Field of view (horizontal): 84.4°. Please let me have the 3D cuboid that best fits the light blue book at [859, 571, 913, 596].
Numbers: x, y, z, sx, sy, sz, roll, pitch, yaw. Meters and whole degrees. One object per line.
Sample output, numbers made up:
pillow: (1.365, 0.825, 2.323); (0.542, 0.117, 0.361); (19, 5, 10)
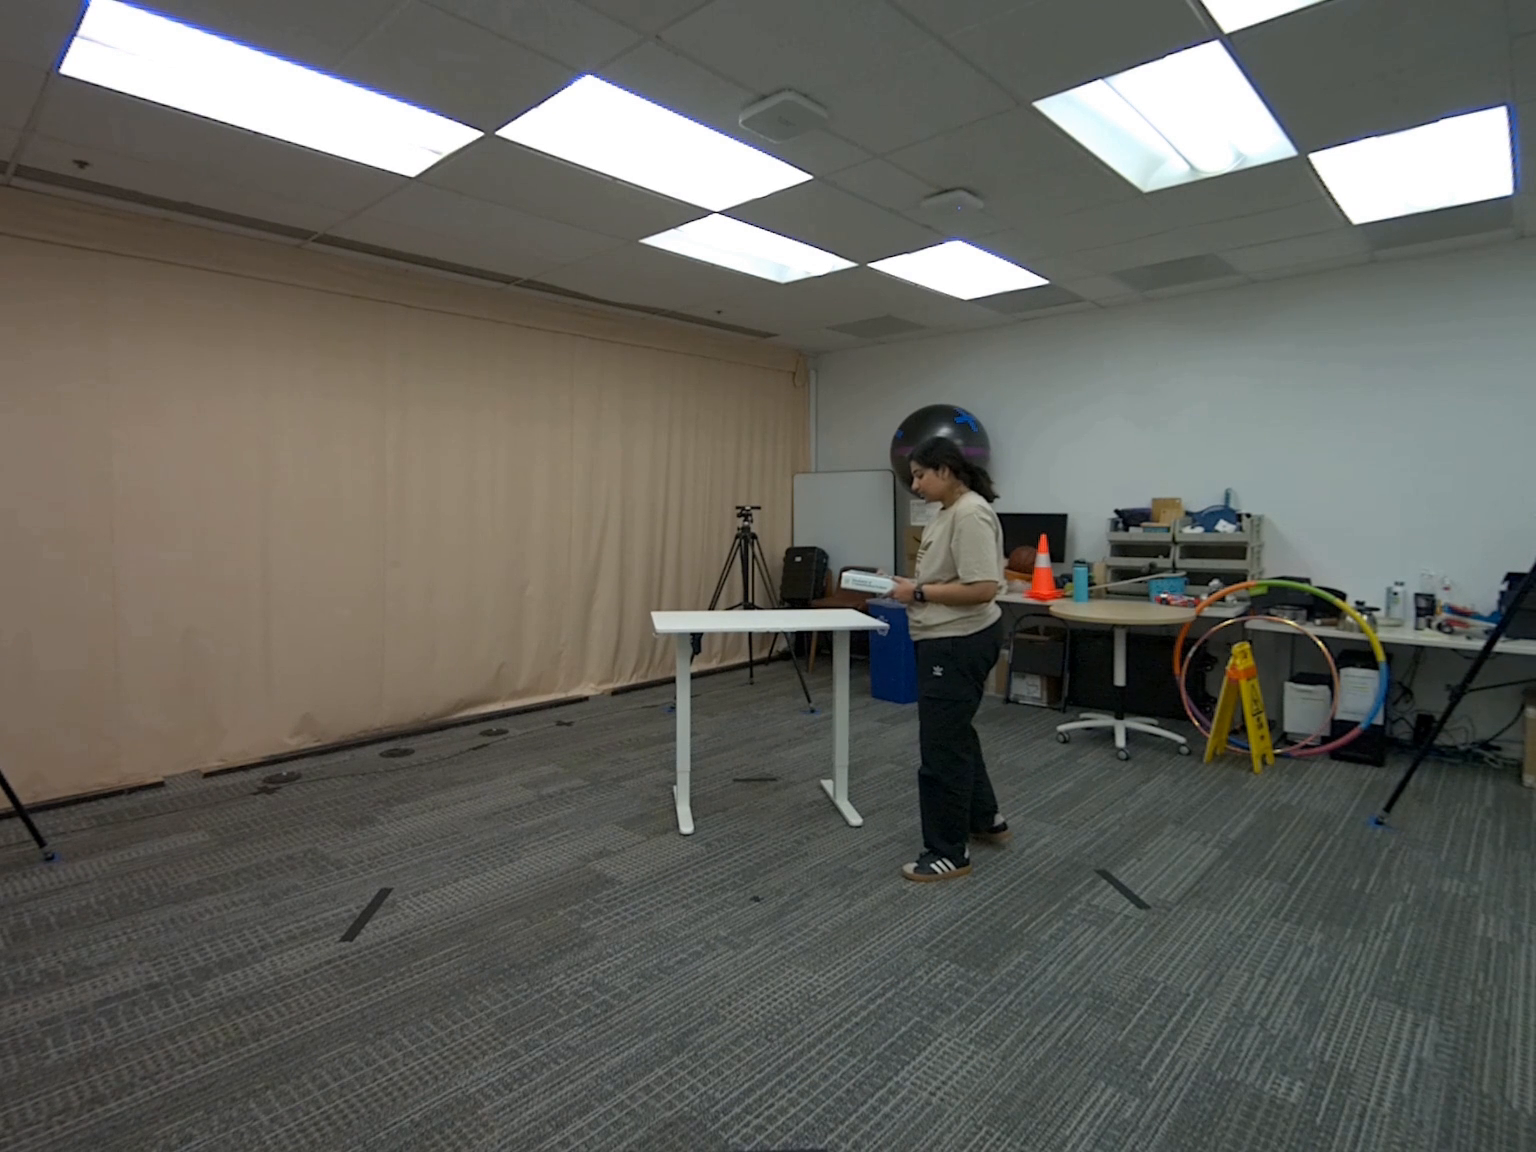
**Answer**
light blue book: (0.496, 0.032, 3.336); (0.189, 0.059, 0.265); (5, 5, -13)
